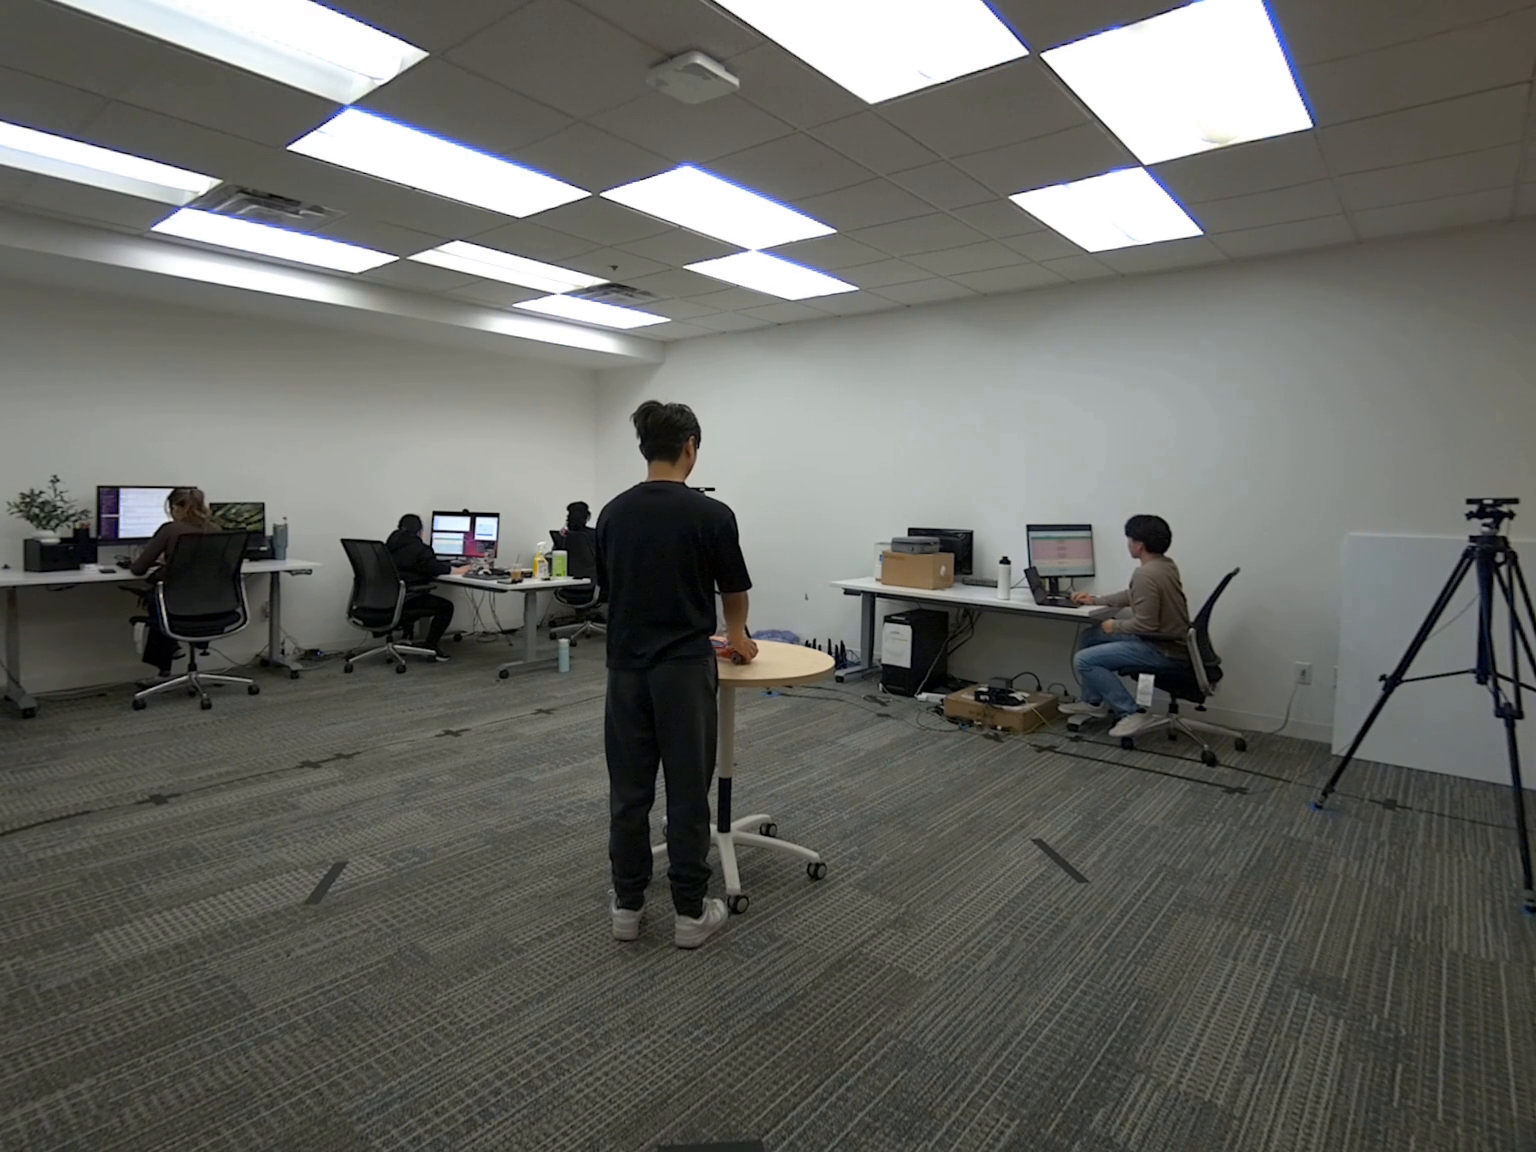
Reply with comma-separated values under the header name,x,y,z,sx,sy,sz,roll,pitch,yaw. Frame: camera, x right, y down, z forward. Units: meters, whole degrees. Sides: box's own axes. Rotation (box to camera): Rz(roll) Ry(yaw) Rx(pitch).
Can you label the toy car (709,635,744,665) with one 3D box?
name,x,y,z,sx,sy,sz,roll,pitch,yaw
toy car,-0.184,0.258,3.016,0.261,0.083,0.128,17,10,20
